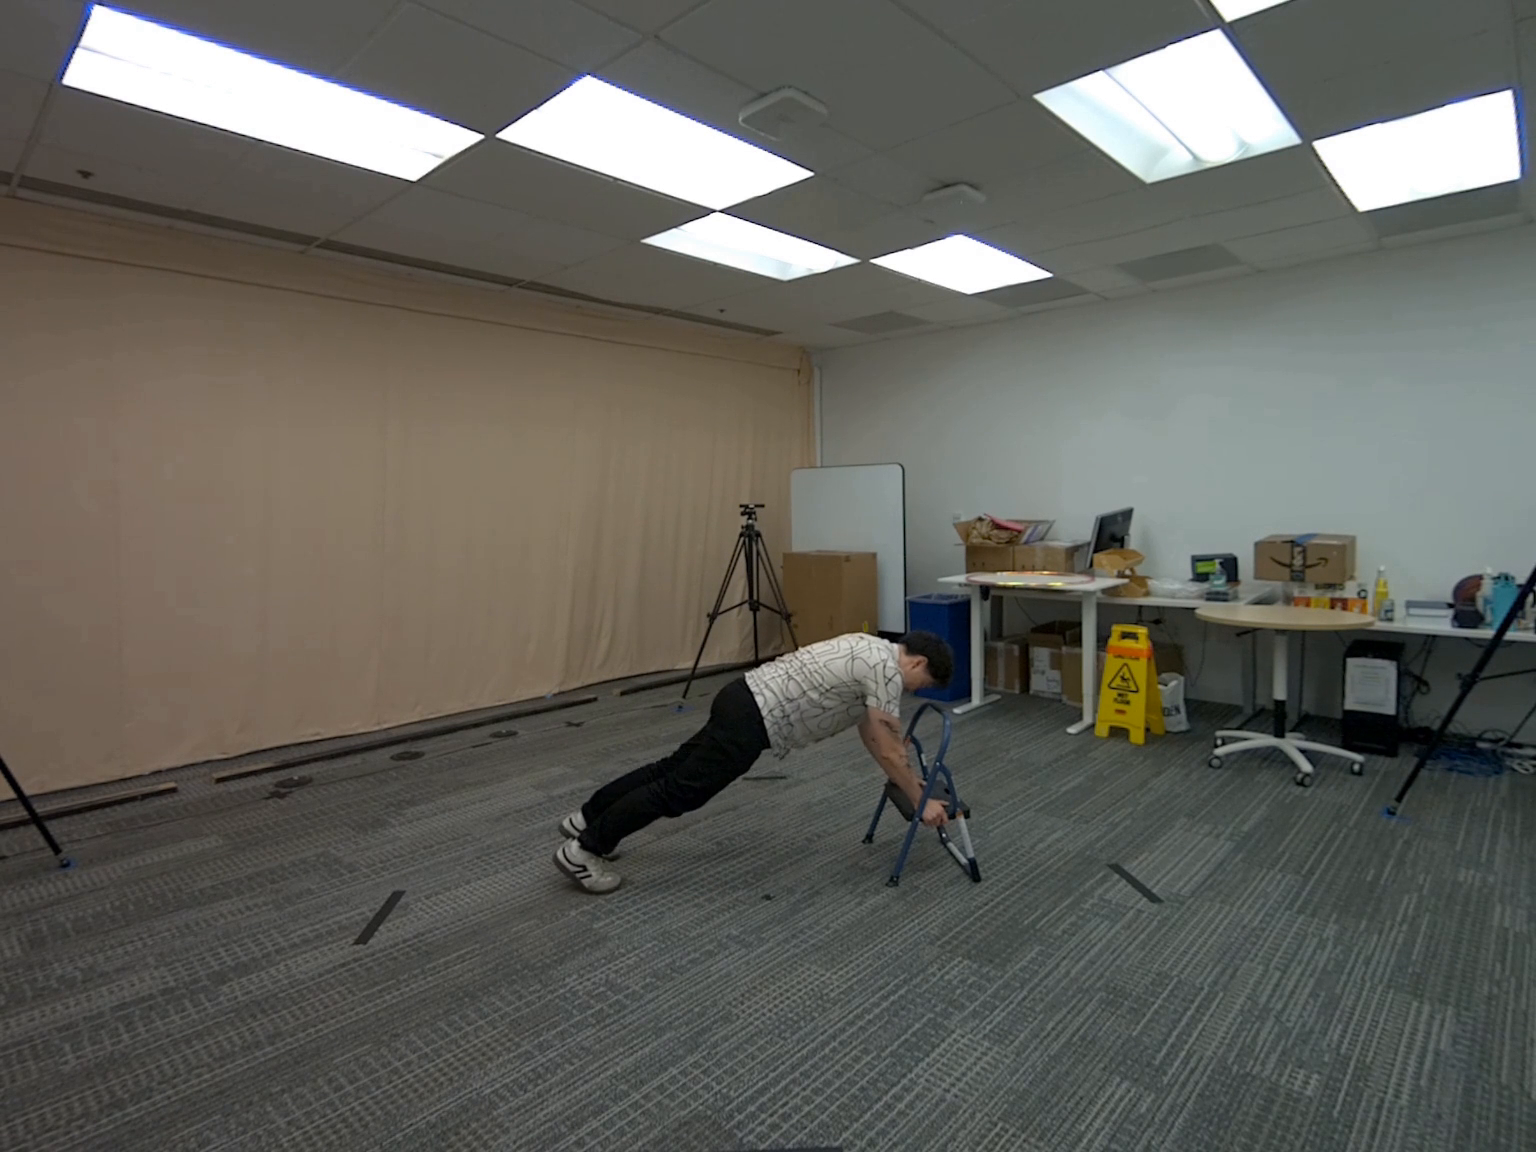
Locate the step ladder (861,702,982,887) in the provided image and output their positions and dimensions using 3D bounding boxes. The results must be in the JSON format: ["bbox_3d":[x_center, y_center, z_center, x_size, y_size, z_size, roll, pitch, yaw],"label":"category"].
[{"bbox_3d":[0.588,0.807,3.250,0.348,0.605,0.434,-1,3,-5],"label":"step ladder"}]
